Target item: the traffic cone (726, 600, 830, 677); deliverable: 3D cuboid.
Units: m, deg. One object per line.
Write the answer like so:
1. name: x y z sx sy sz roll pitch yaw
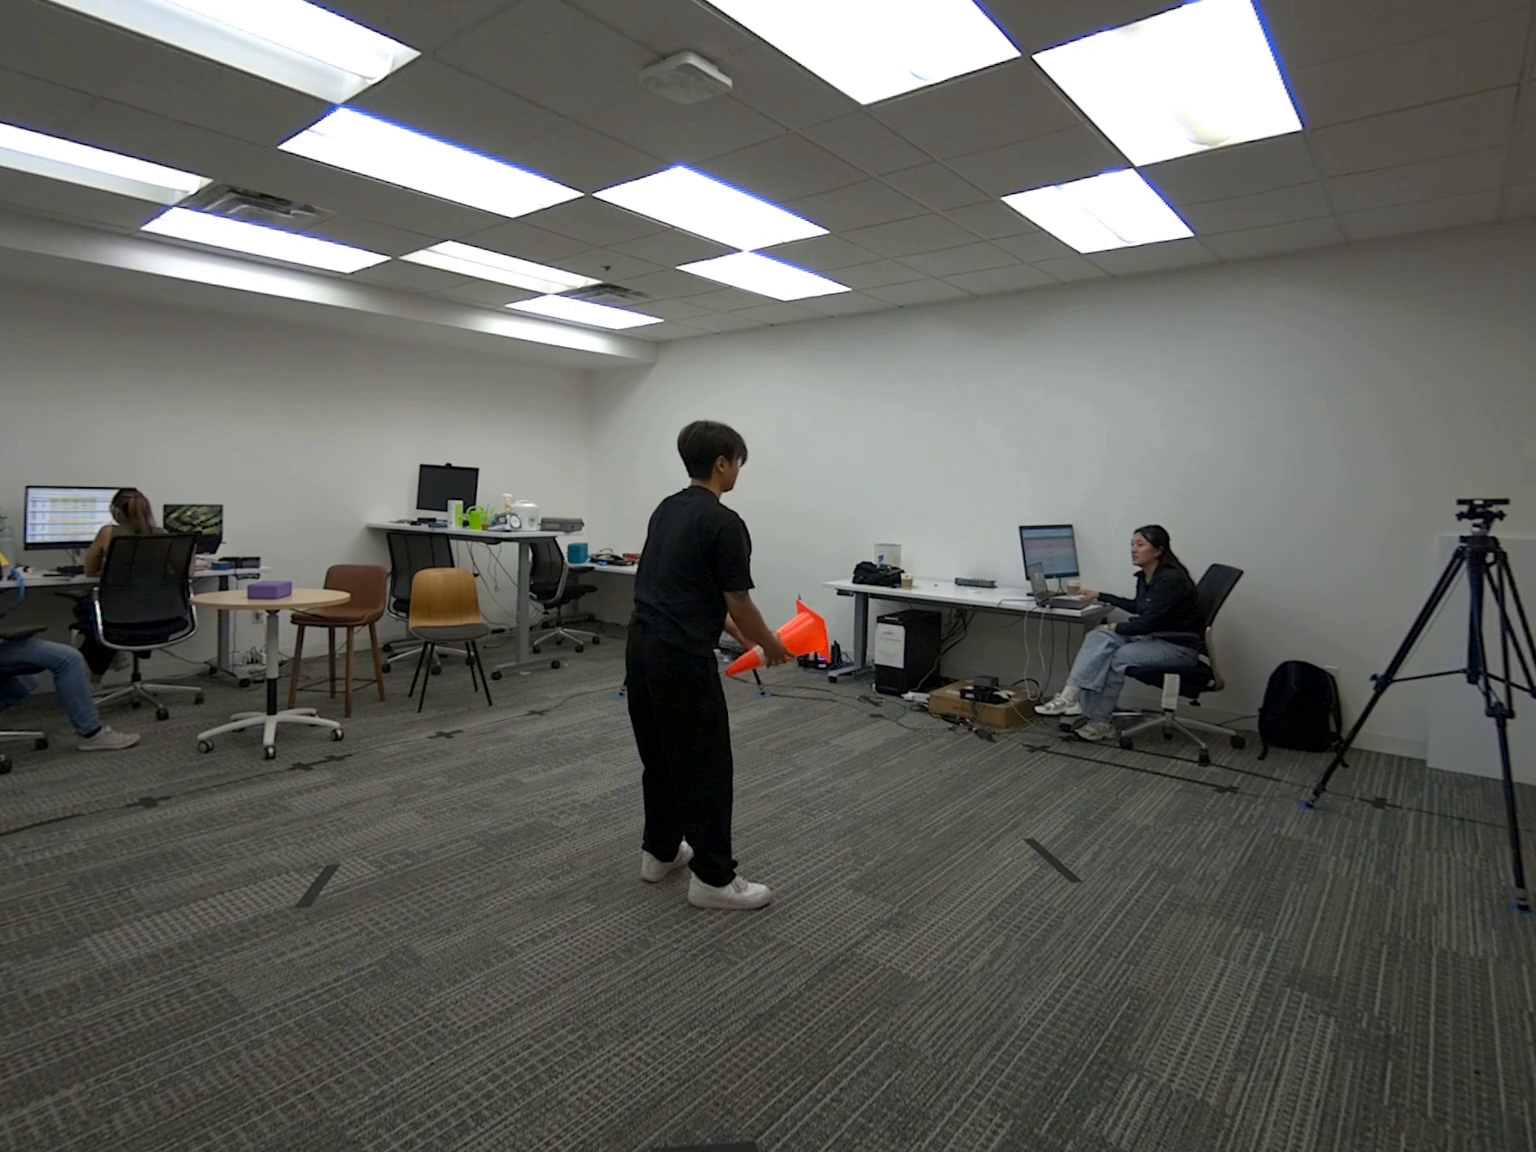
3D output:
1. traffic cone: 0.008 0.282 3.129 0.379 0.197 0.213 -25 33 -20
